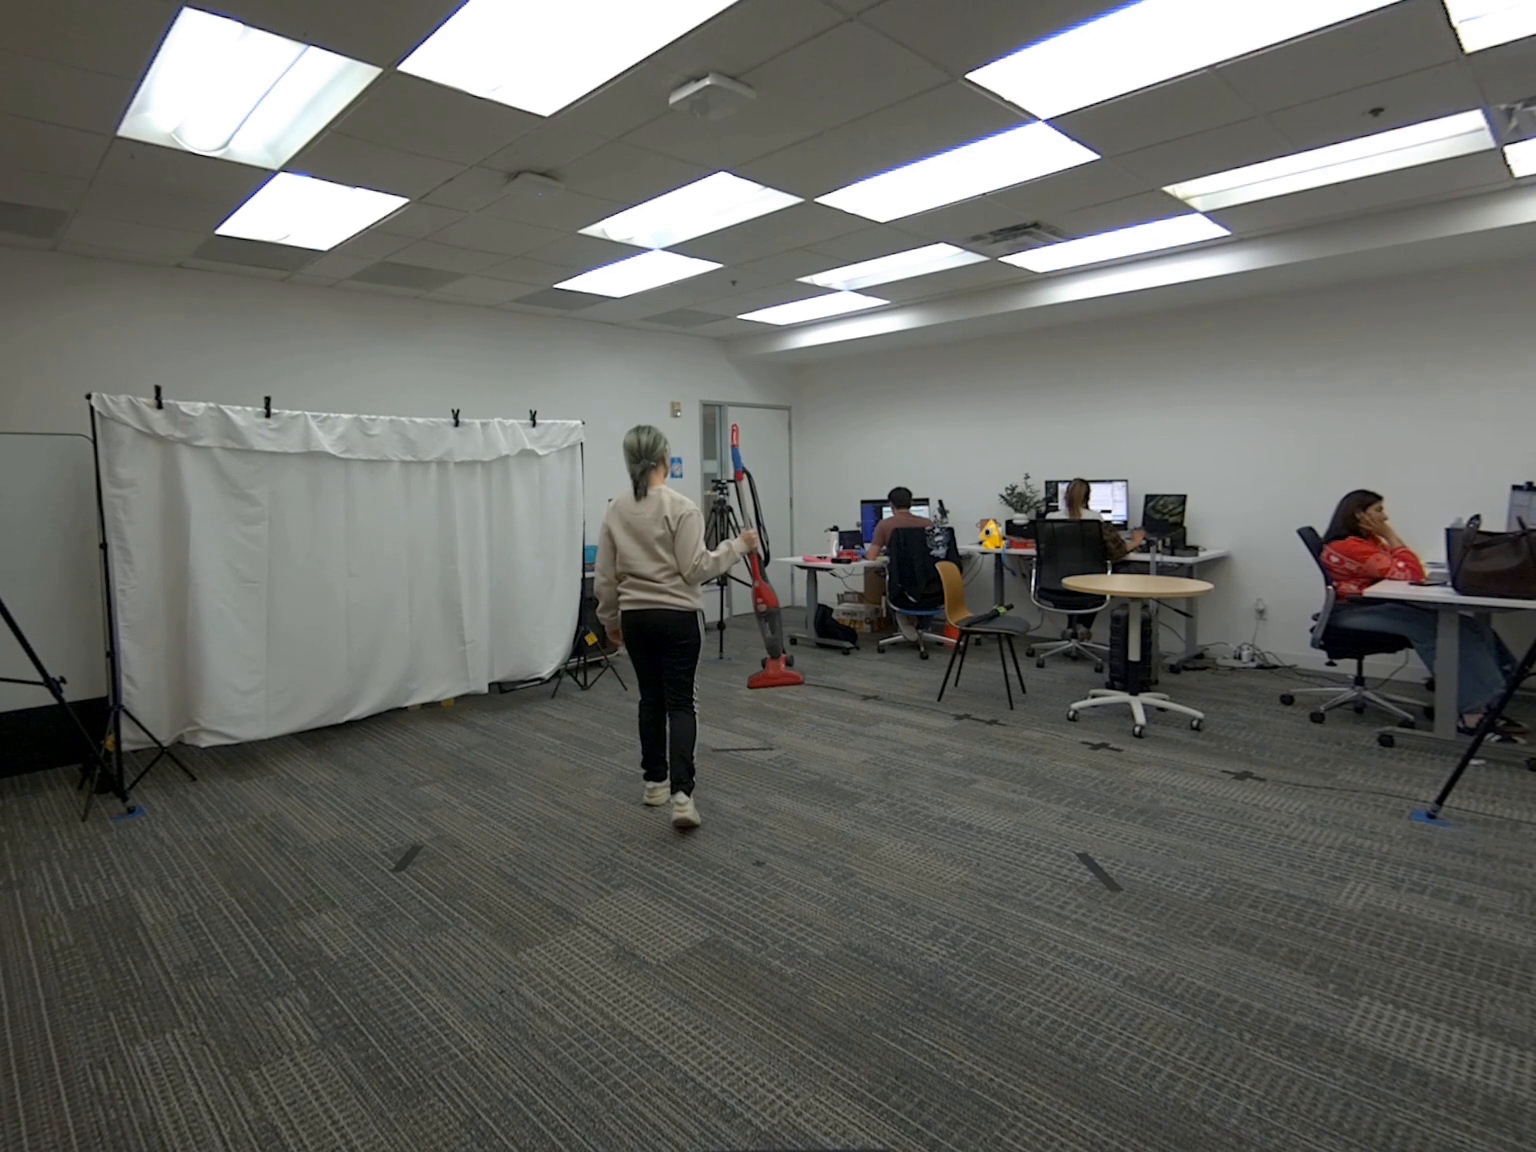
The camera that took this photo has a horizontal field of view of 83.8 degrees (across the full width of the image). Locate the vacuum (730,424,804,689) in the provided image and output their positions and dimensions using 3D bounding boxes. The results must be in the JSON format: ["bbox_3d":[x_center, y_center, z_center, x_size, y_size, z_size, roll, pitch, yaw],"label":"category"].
[{"bbox_3d":[-0.053,-0.107,3.595,0.255,1.049,0.142,-9,0,14],"label":"vacuum"}]
